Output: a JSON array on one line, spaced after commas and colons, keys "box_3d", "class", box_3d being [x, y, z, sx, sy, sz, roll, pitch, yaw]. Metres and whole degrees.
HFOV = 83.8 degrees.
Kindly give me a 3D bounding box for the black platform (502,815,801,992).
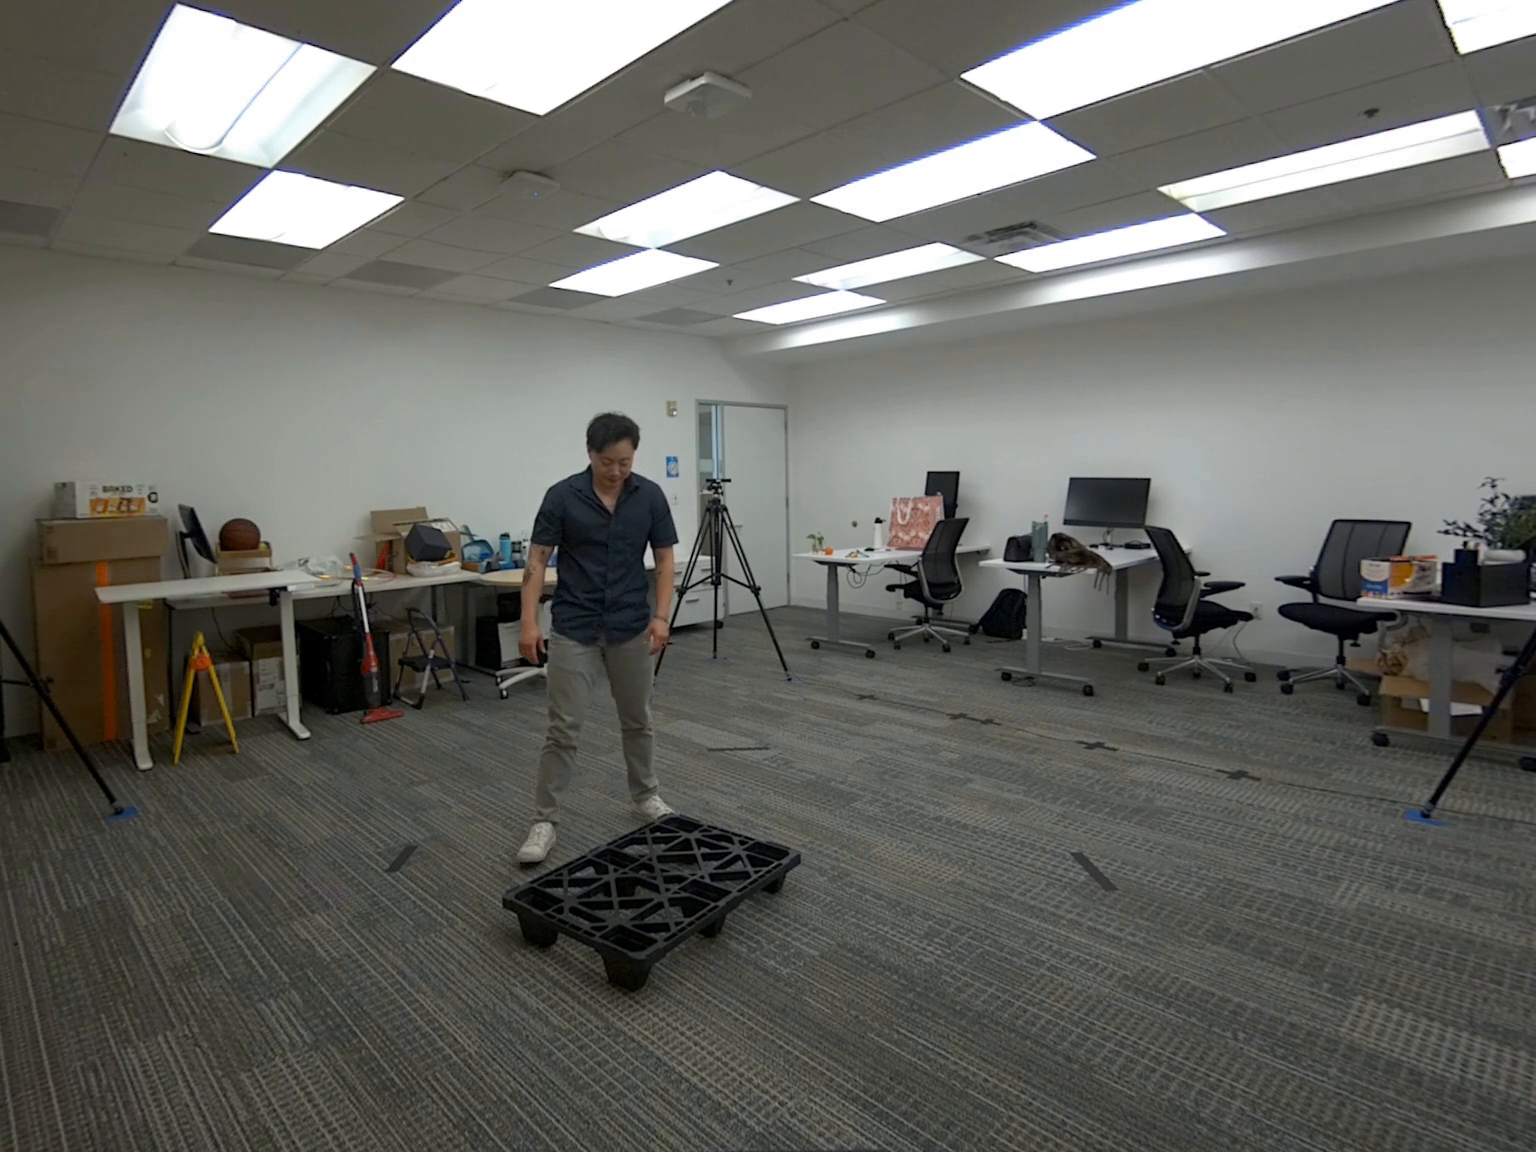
[{"box_3d": [-0.352, 1.024, 2.760, 0.623, 0.142, 0.786, 3, 8, 36], "class": "black platform"}]
